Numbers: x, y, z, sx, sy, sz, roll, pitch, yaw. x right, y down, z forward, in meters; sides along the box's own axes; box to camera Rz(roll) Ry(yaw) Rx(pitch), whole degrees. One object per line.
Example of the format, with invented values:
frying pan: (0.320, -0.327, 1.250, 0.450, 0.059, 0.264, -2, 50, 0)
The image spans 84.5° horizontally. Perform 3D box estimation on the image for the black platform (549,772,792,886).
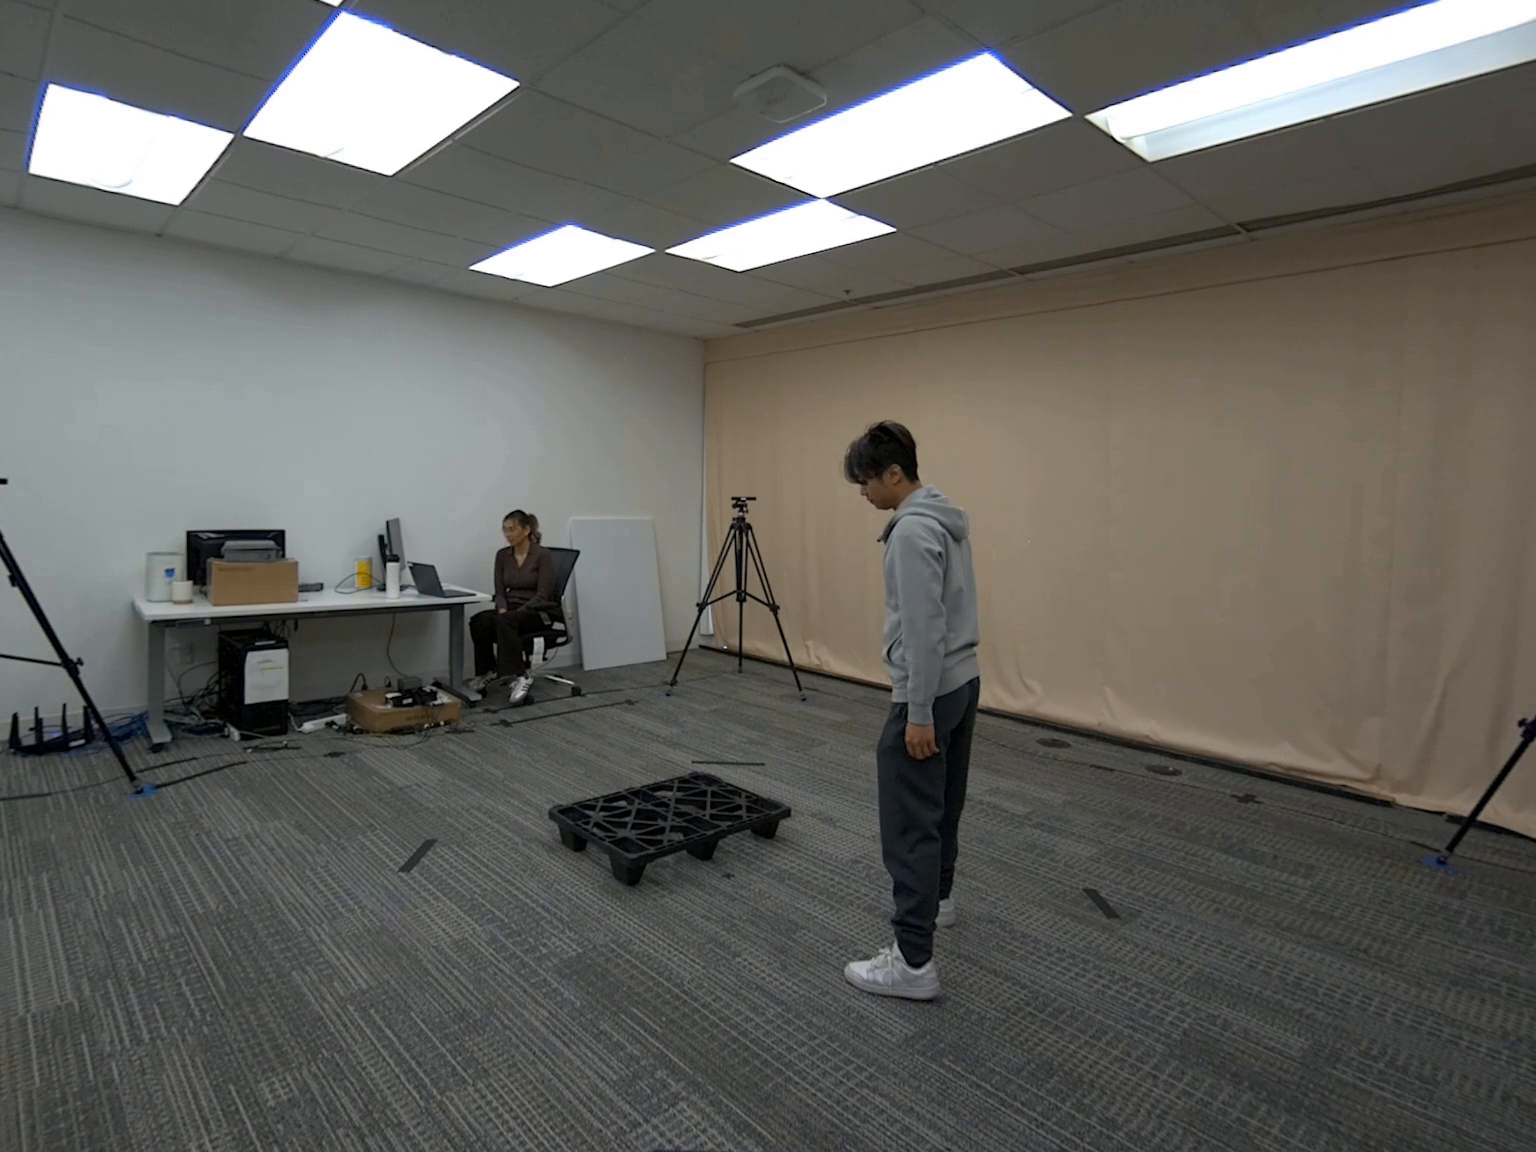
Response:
black platform: (-0.392, 1.008, 3.407, 0.787, 0.143, 0.621, -3, 7, -42)
